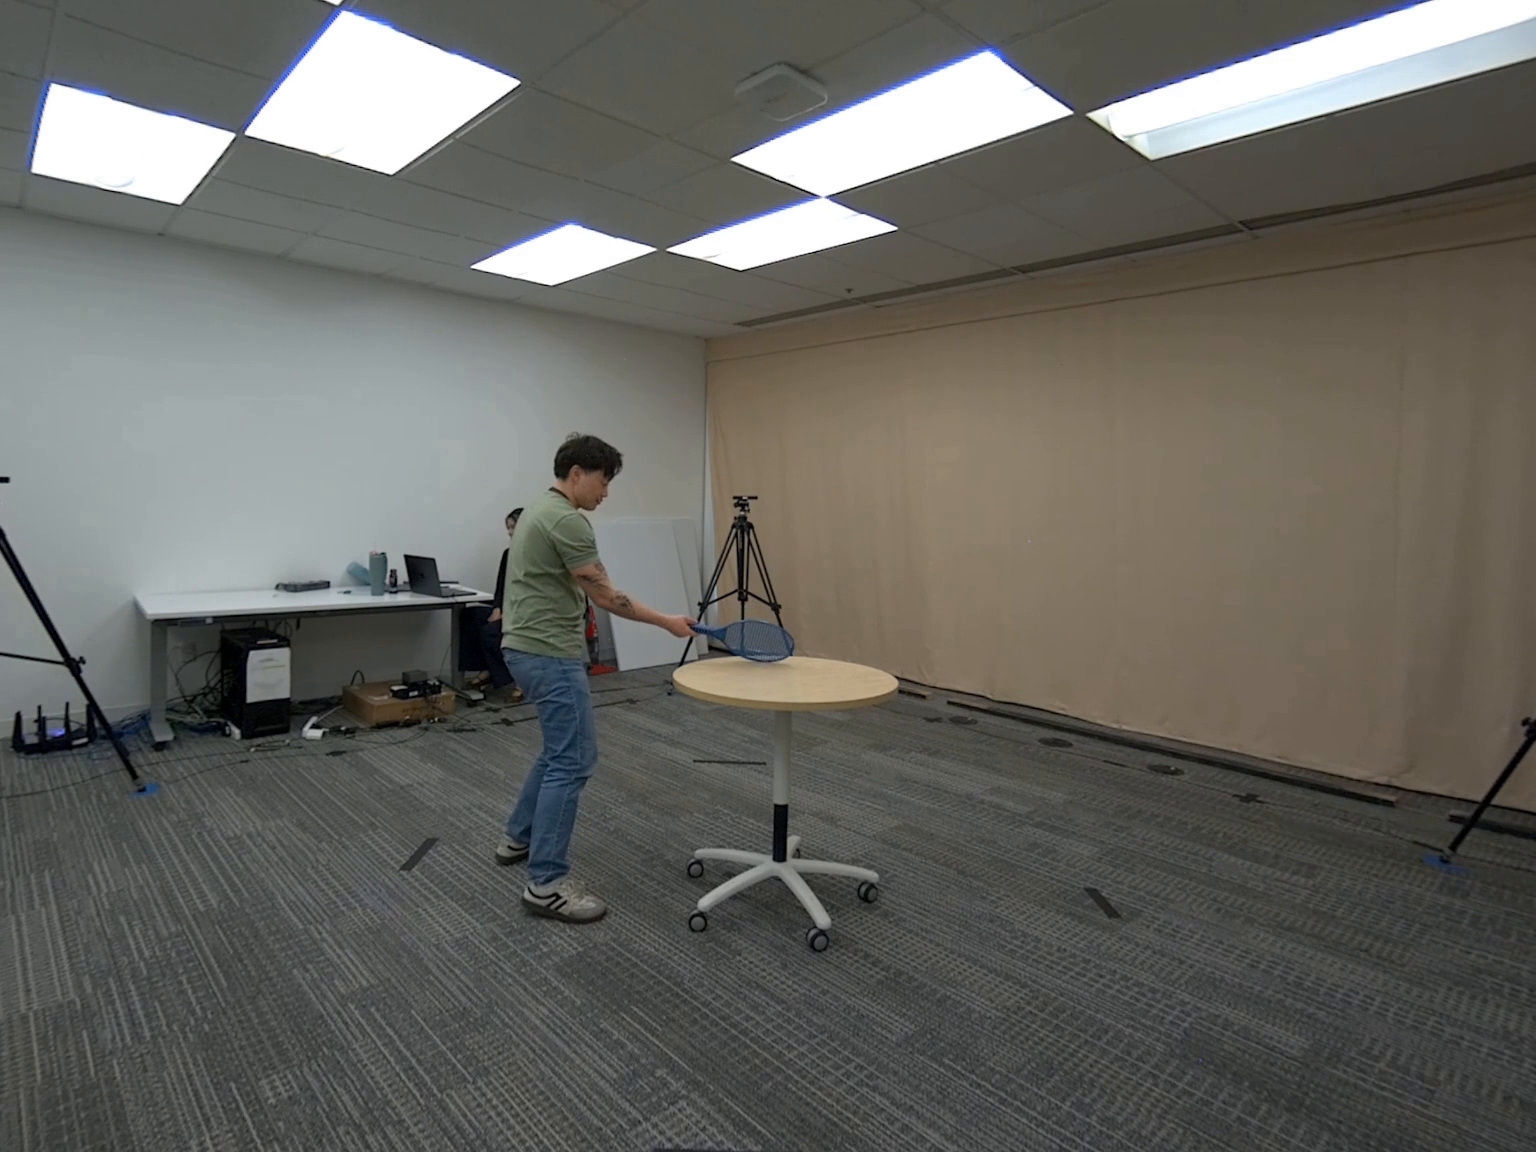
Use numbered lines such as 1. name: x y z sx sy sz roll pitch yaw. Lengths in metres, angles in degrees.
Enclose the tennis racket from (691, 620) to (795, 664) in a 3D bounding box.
1. tennis racket: -0.126 0.219 3.063 0.435 0.210 0.032 15 39 4
